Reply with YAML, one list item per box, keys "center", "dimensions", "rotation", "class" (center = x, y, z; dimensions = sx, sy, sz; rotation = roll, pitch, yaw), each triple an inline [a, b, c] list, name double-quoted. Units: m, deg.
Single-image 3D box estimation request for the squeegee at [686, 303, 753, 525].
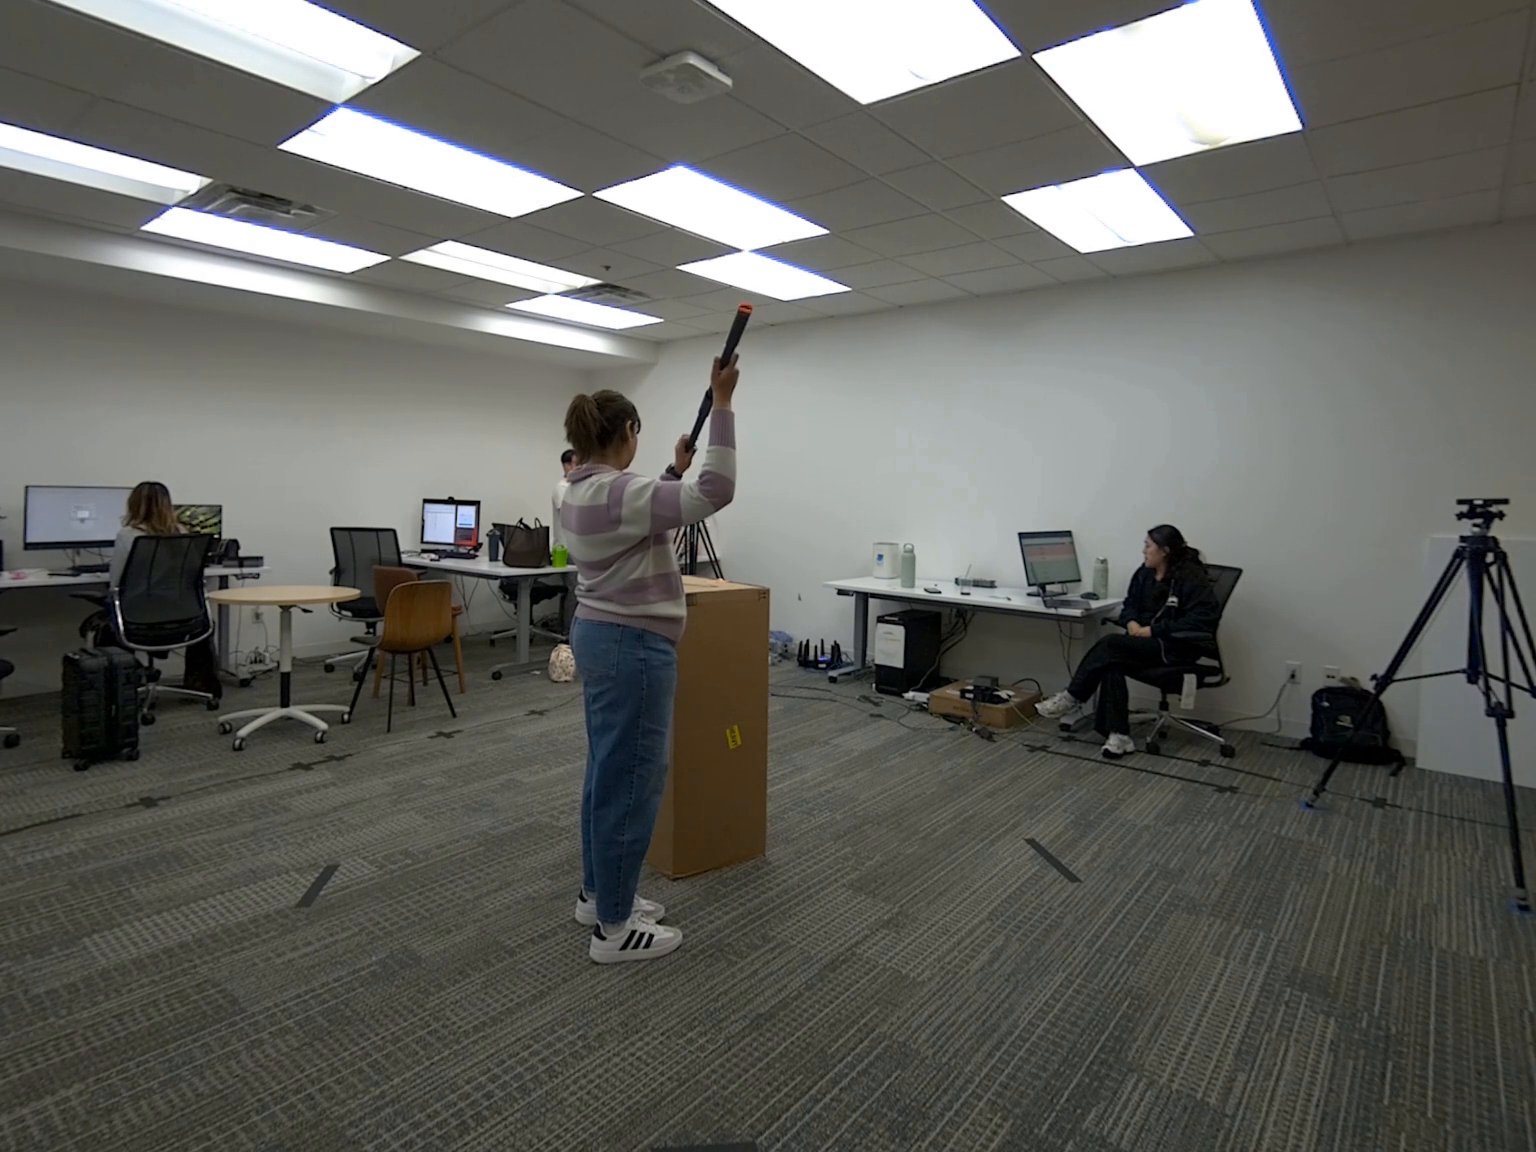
- center: [-0.249, -0.471, 2.680]
  dimensions: [0.432, 0.054, 1.534]
  rotation: [-11, -10, -14]
  class: "squeegee"
